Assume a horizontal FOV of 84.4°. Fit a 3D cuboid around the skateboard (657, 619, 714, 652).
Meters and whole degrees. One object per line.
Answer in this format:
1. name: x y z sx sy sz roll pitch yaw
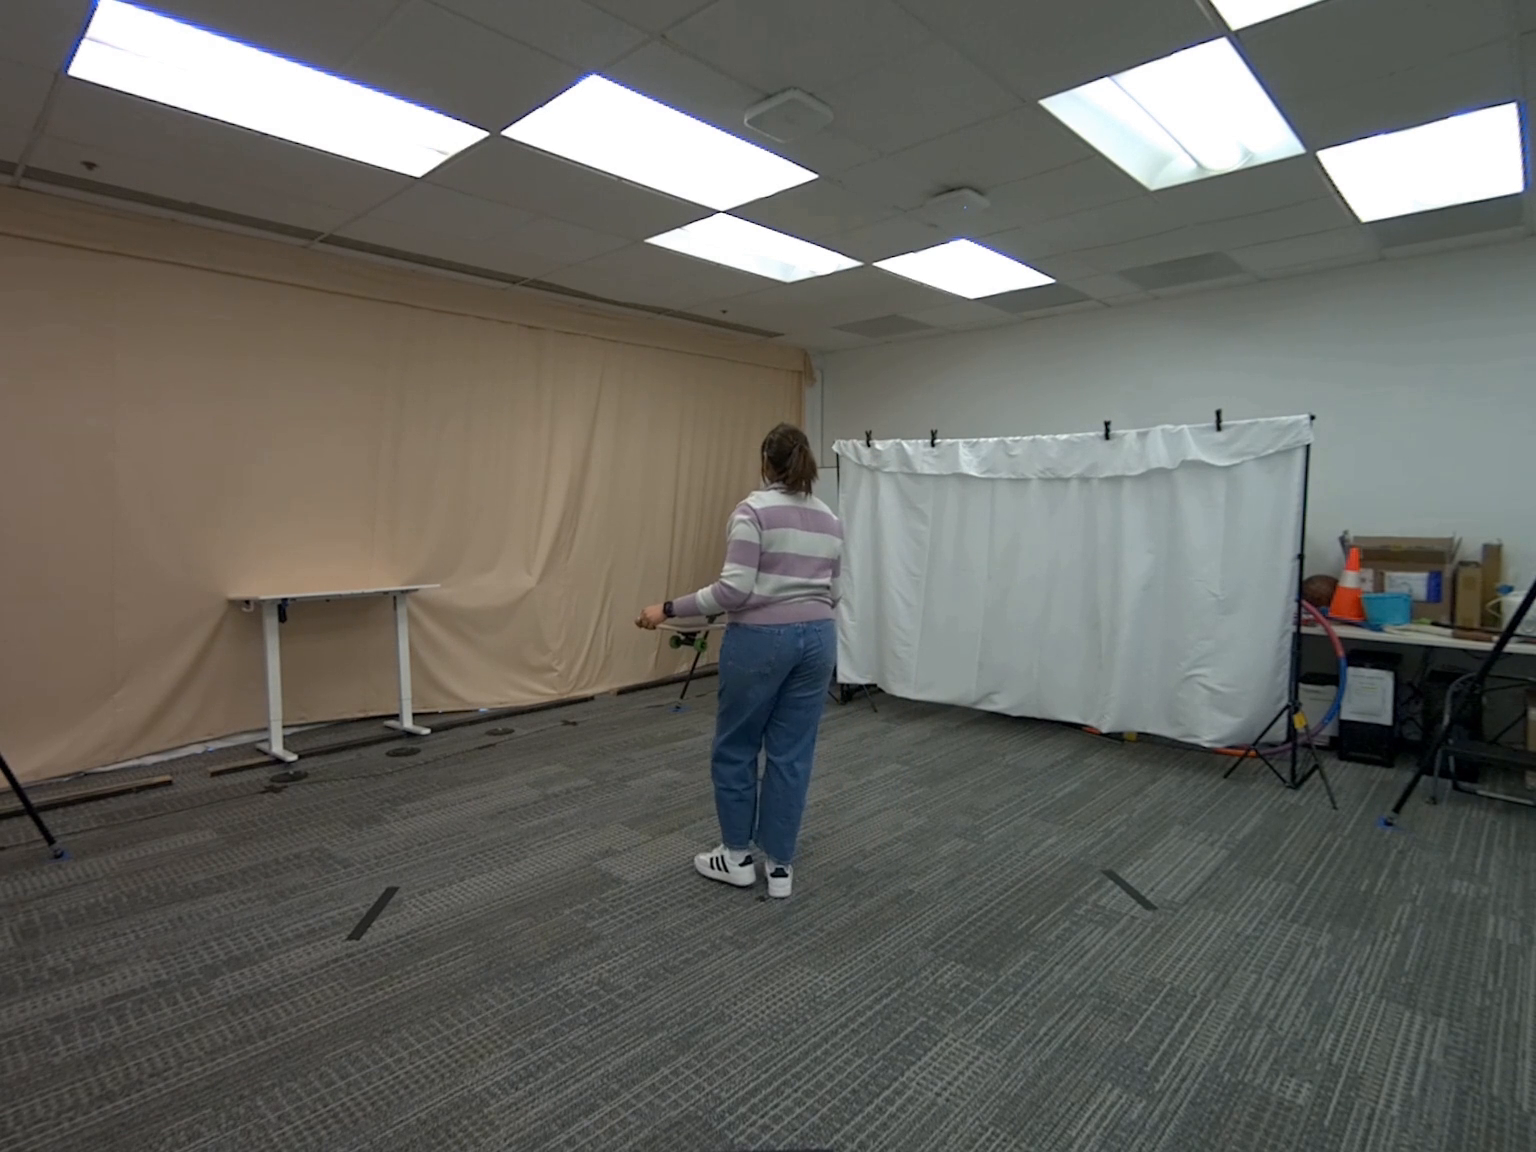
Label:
1. skateboard: -0.165 0.221 3.269 0.761 0.110 0.199 0 -1 -39
